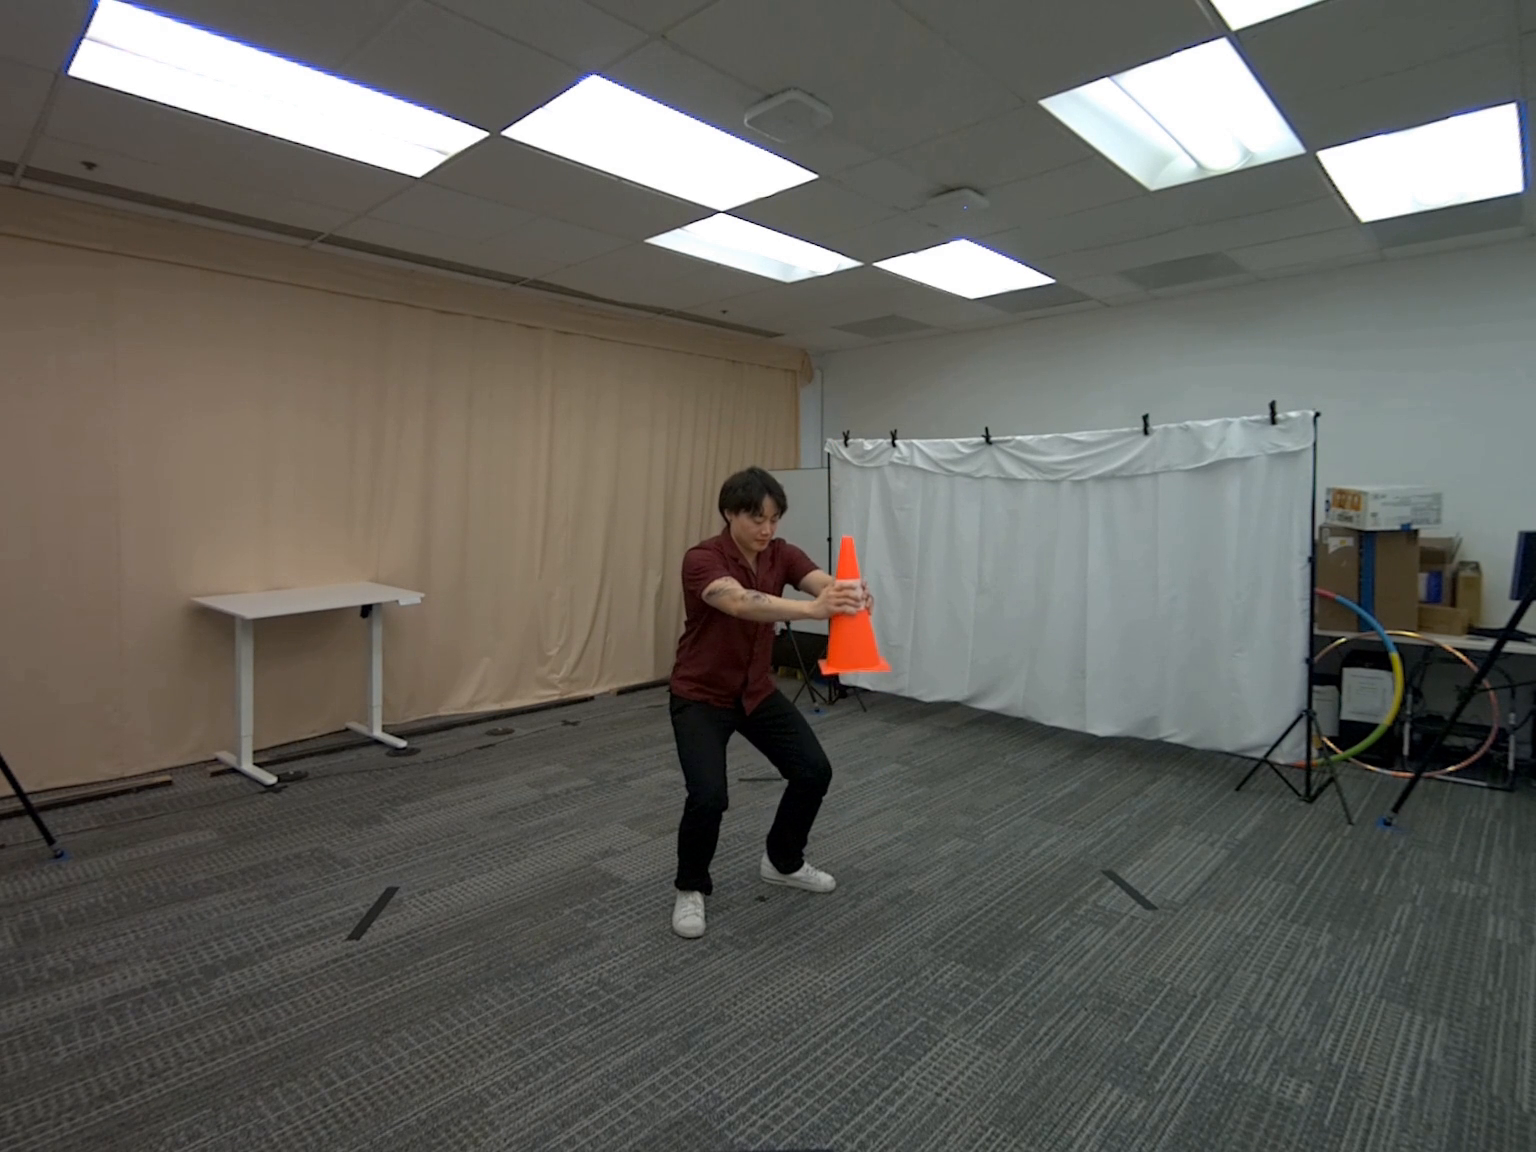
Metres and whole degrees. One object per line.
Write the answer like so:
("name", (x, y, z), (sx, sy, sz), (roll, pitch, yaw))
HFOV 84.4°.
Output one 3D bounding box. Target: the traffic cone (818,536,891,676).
("traffic cone", (0.243, 0.080, 2.473), (0.202, 0.383, 0.206), (-6, 3, -14))
